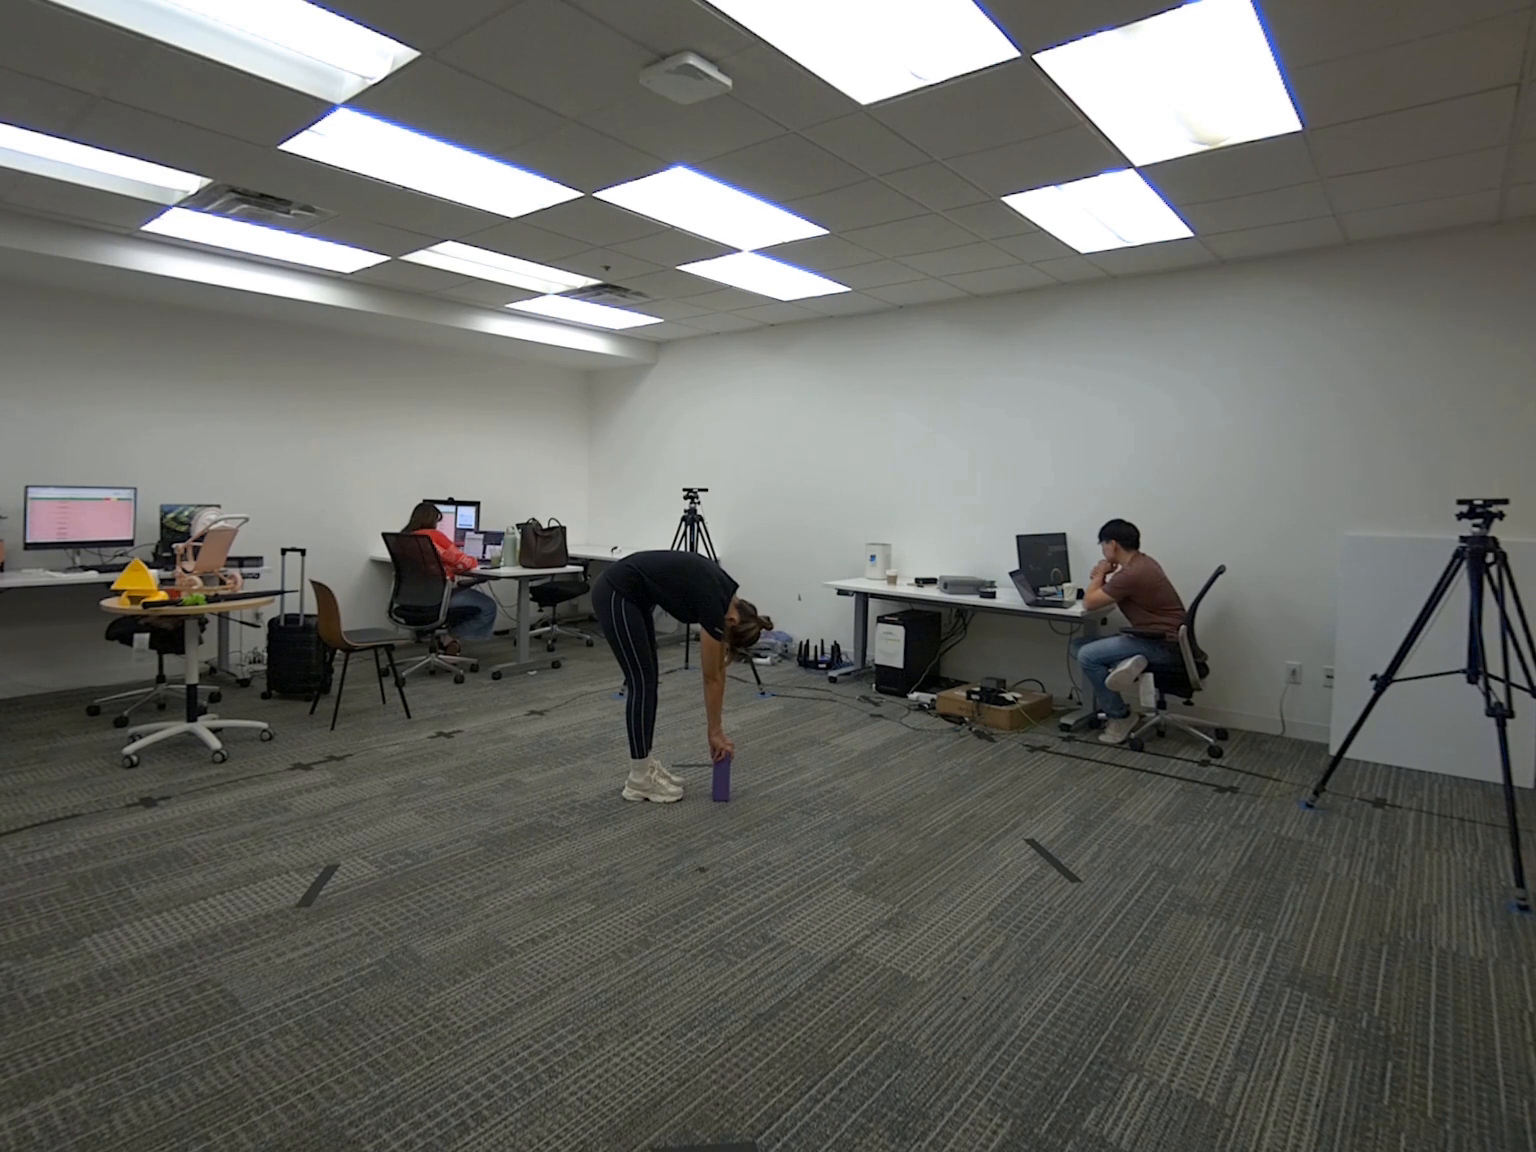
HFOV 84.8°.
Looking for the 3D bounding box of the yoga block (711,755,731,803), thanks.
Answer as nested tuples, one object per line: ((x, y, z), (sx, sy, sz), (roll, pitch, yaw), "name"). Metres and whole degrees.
((-0.220, 0.889, 3.857), (0.076, 0.228, 0.150), (0, 5, -4), "yoga block")
